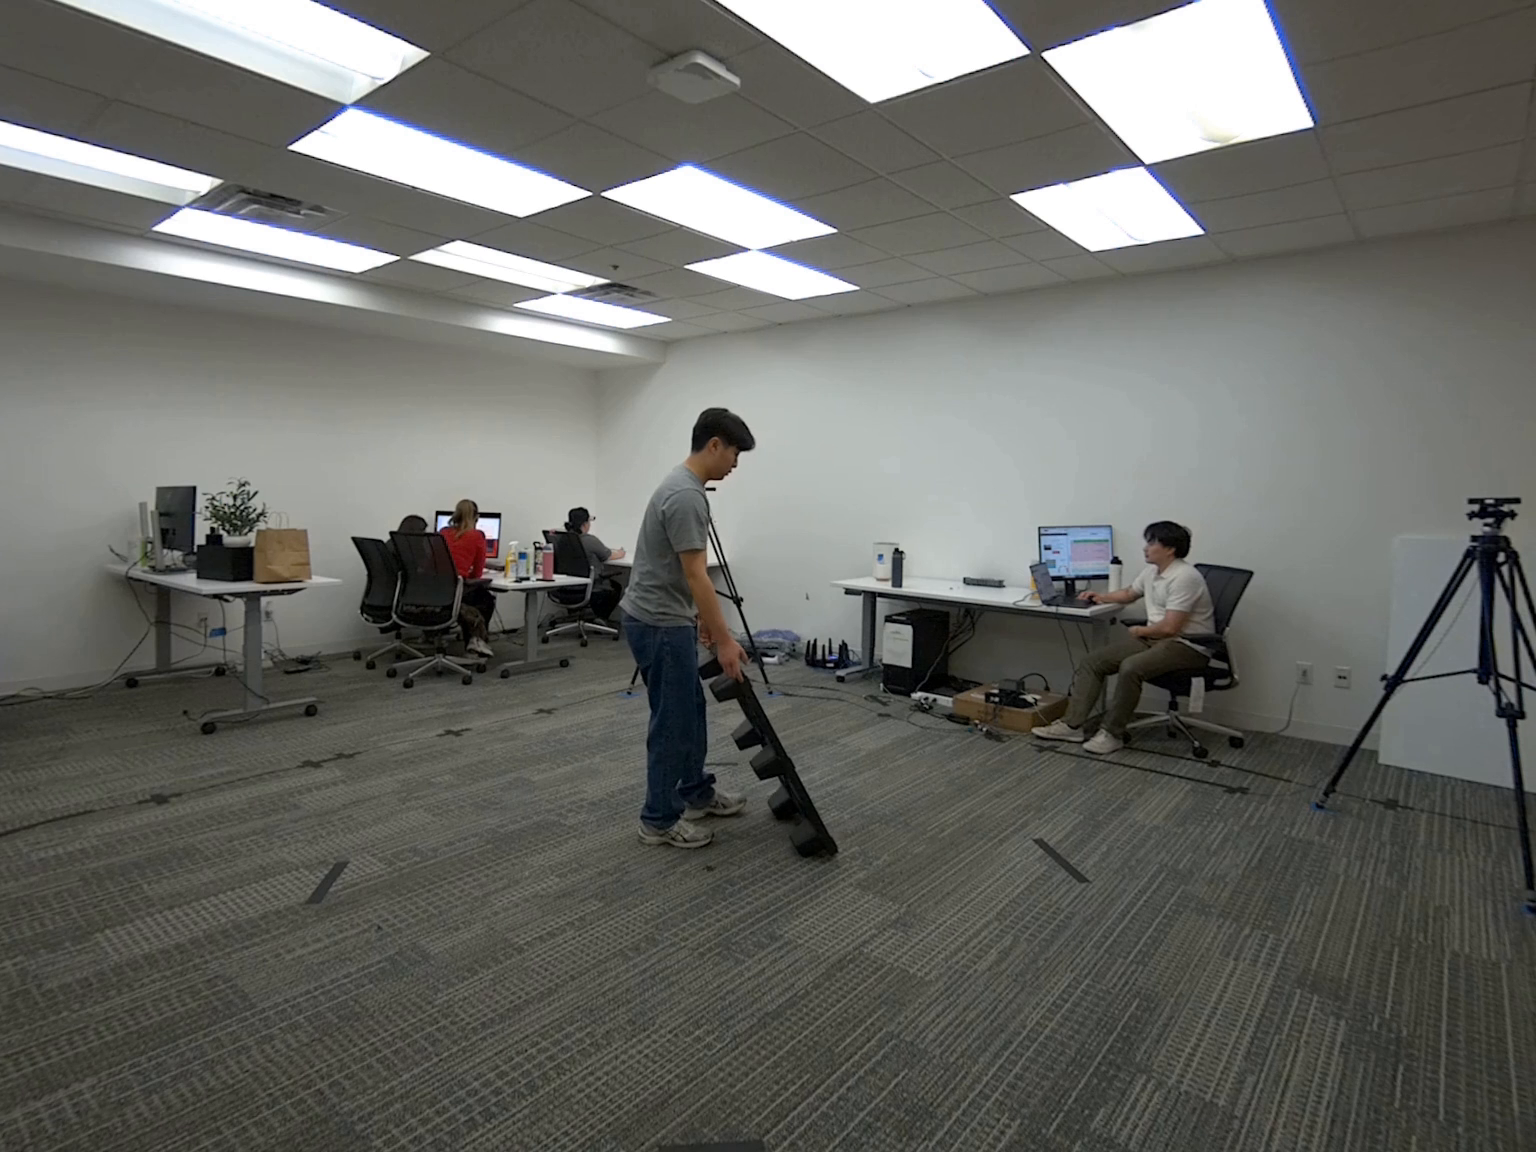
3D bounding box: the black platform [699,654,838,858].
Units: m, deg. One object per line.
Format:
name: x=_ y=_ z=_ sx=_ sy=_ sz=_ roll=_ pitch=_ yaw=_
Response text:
black platform: x=-0.039 y=0.690 z=3.410 sx=0.143 sy=0.799 sz=0.613 roll=-28 pitch=7 yaw=-7
